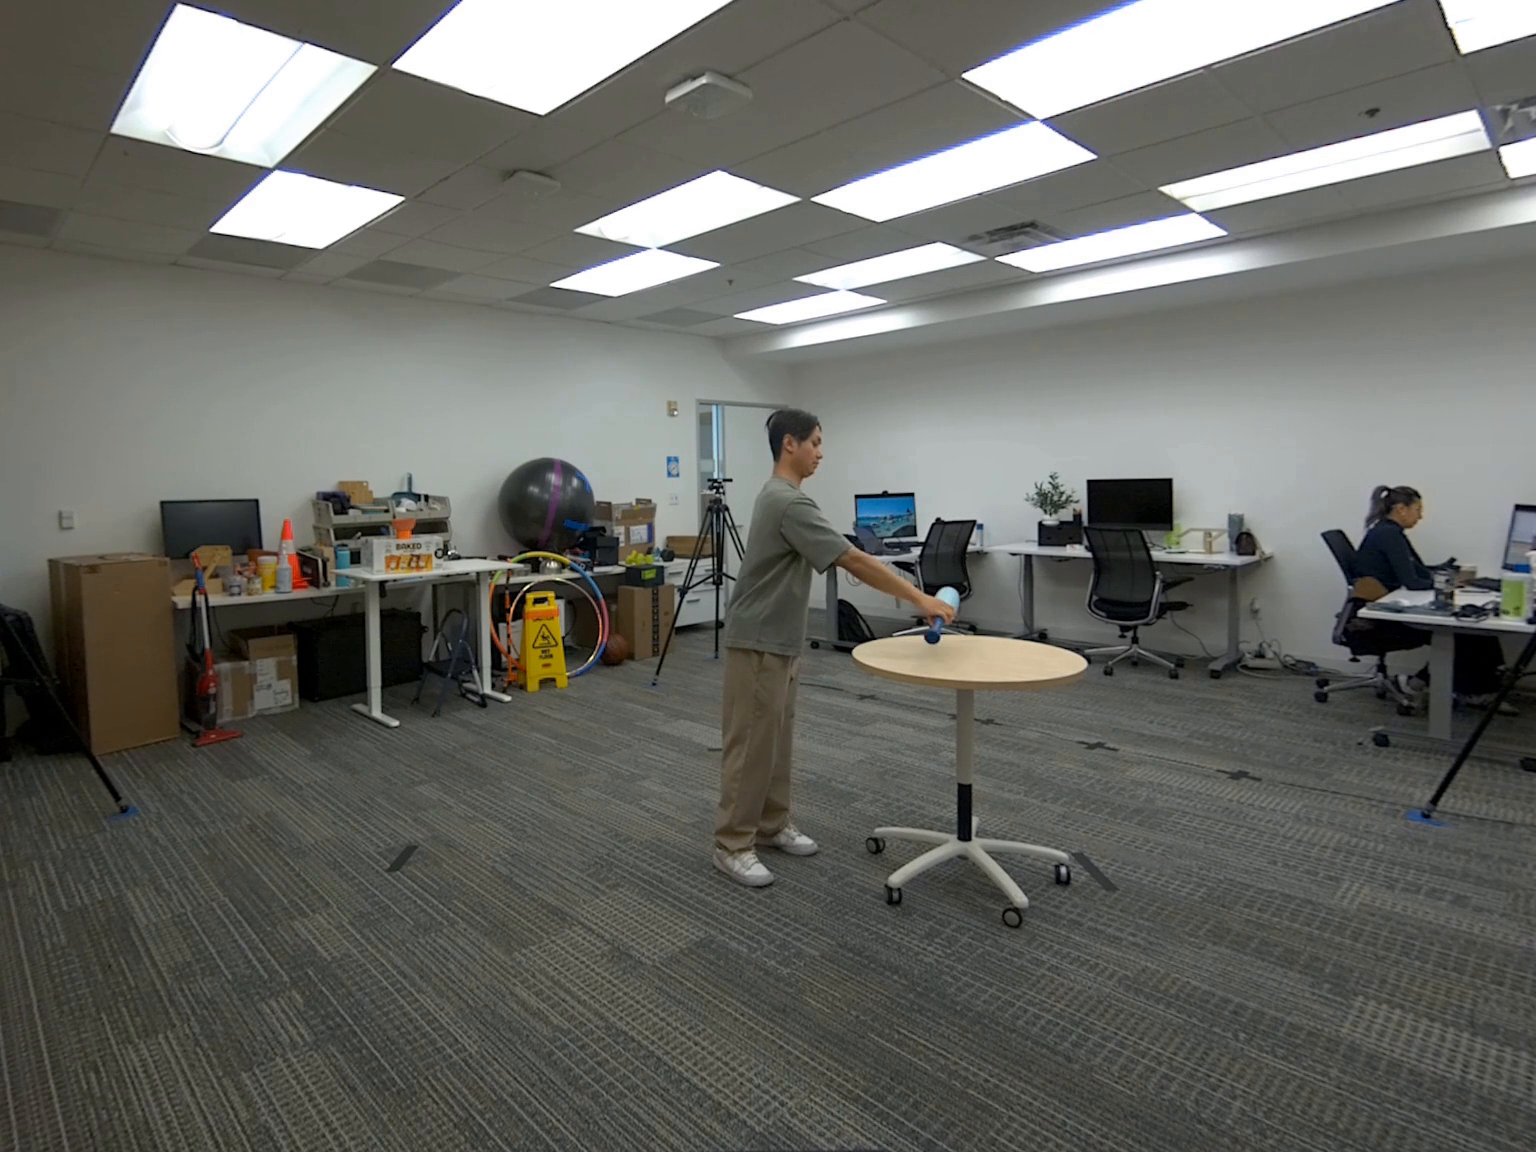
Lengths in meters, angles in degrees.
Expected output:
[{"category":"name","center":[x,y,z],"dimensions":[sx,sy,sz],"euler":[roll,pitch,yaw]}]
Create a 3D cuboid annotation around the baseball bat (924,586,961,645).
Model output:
[{"category":"baseball bat","center":[0.585,0.120,2.893],"dimensions":[0.090,0.088,0.539],"euler":[0,12,16]}]
